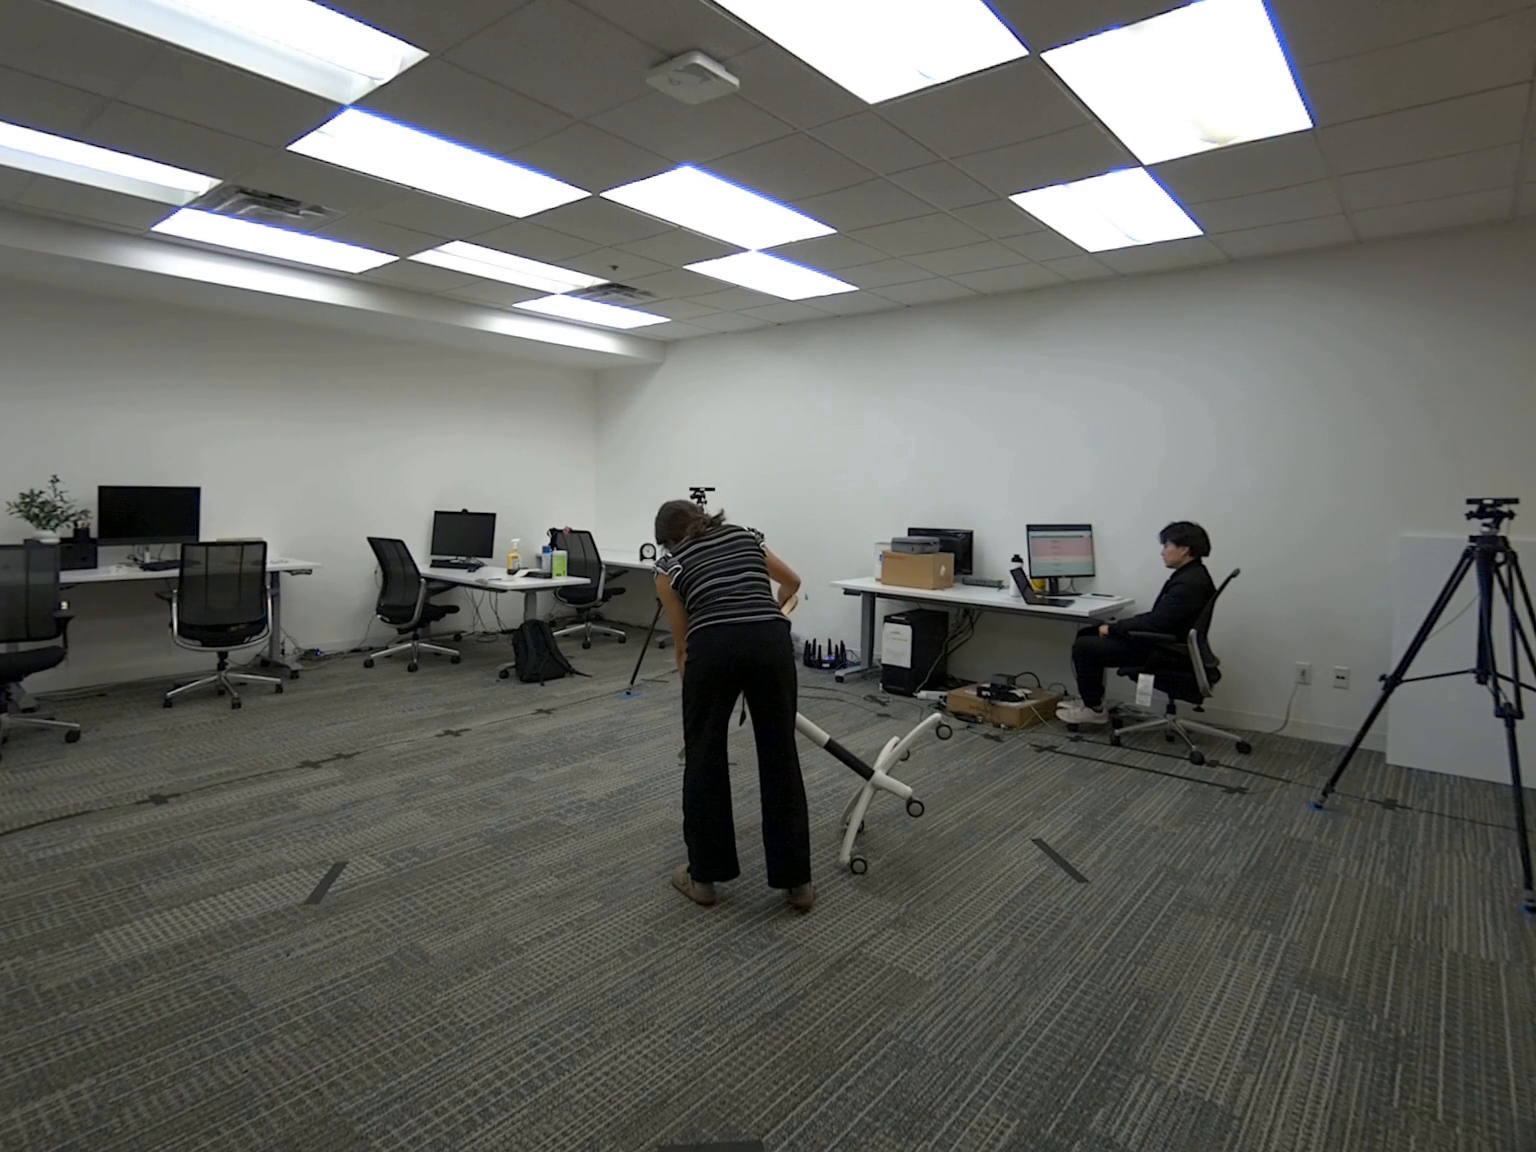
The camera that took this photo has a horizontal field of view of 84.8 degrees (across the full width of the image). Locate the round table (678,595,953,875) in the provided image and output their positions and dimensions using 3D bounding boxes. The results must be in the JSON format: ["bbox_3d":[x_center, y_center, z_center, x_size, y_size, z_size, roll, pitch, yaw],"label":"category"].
[{"bbox_3d":[0.190,0.615,3.310,0.799,0.763,0.760,36,7,3],"label":"round table"}]
